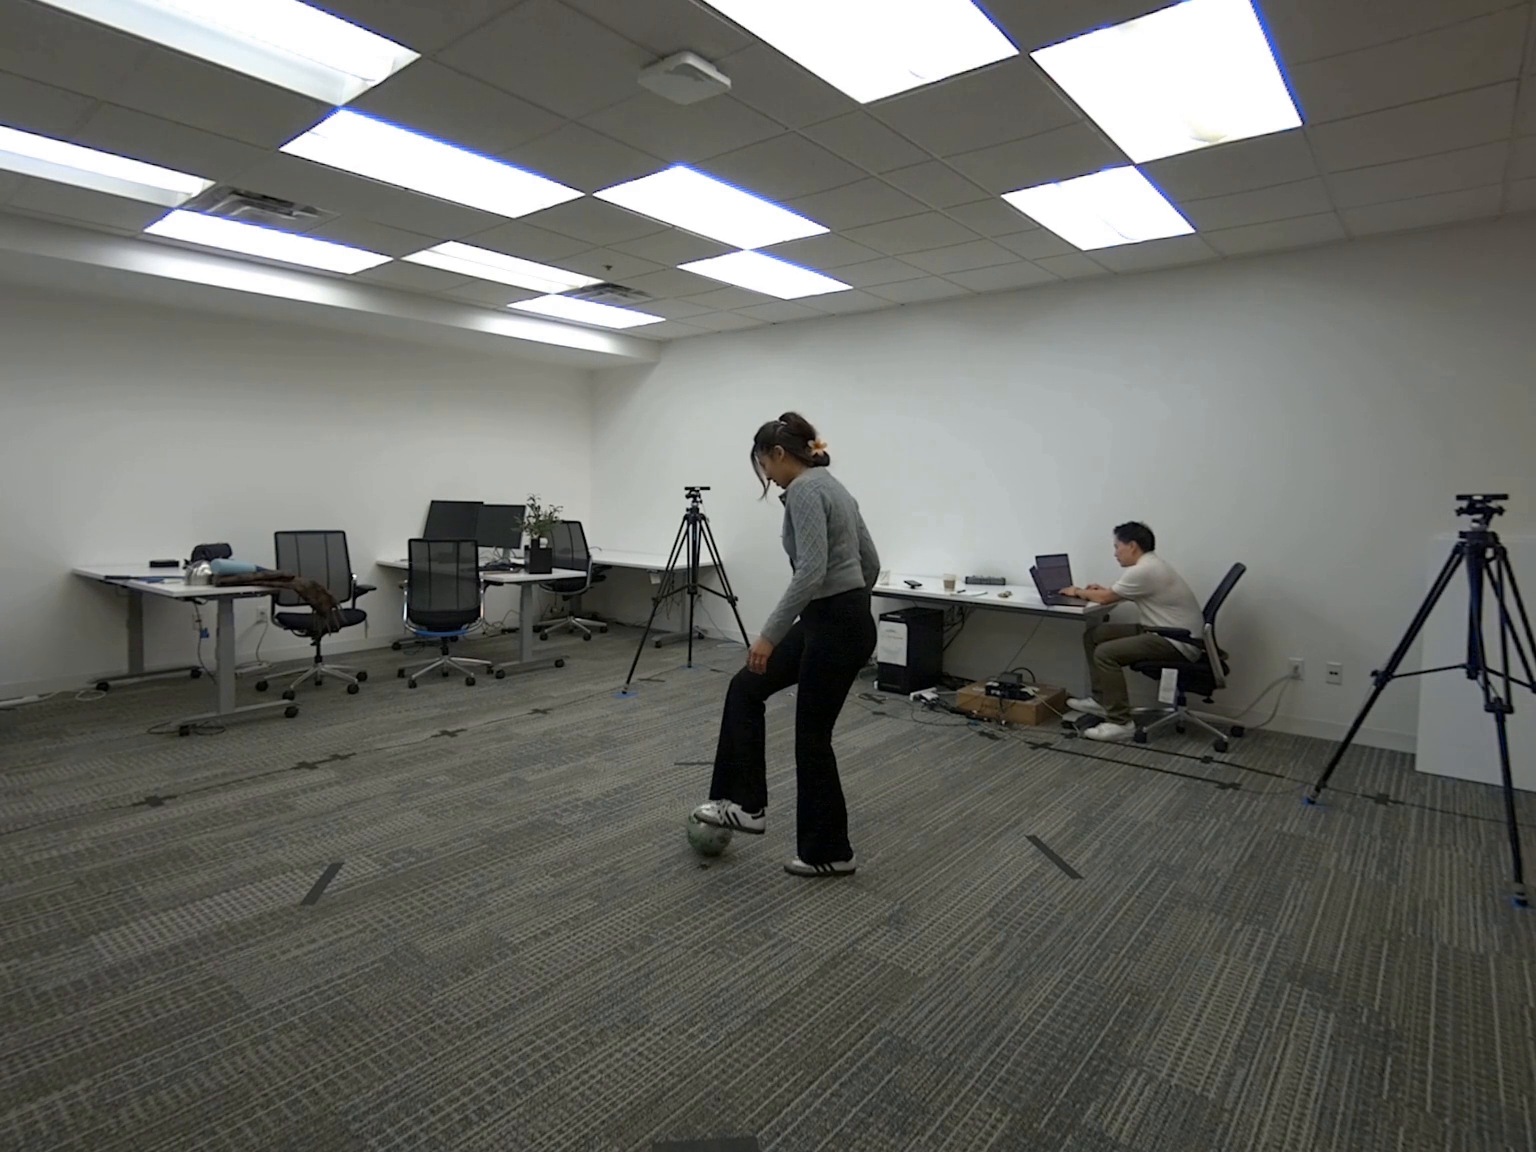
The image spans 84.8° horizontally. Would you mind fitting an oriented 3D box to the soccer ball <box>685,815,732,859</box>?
[{"bbox_3d":[-0.234,0.956,3.248,0.187,0.187,0.188,1,4,-2],"label":"soccer ball"}]
